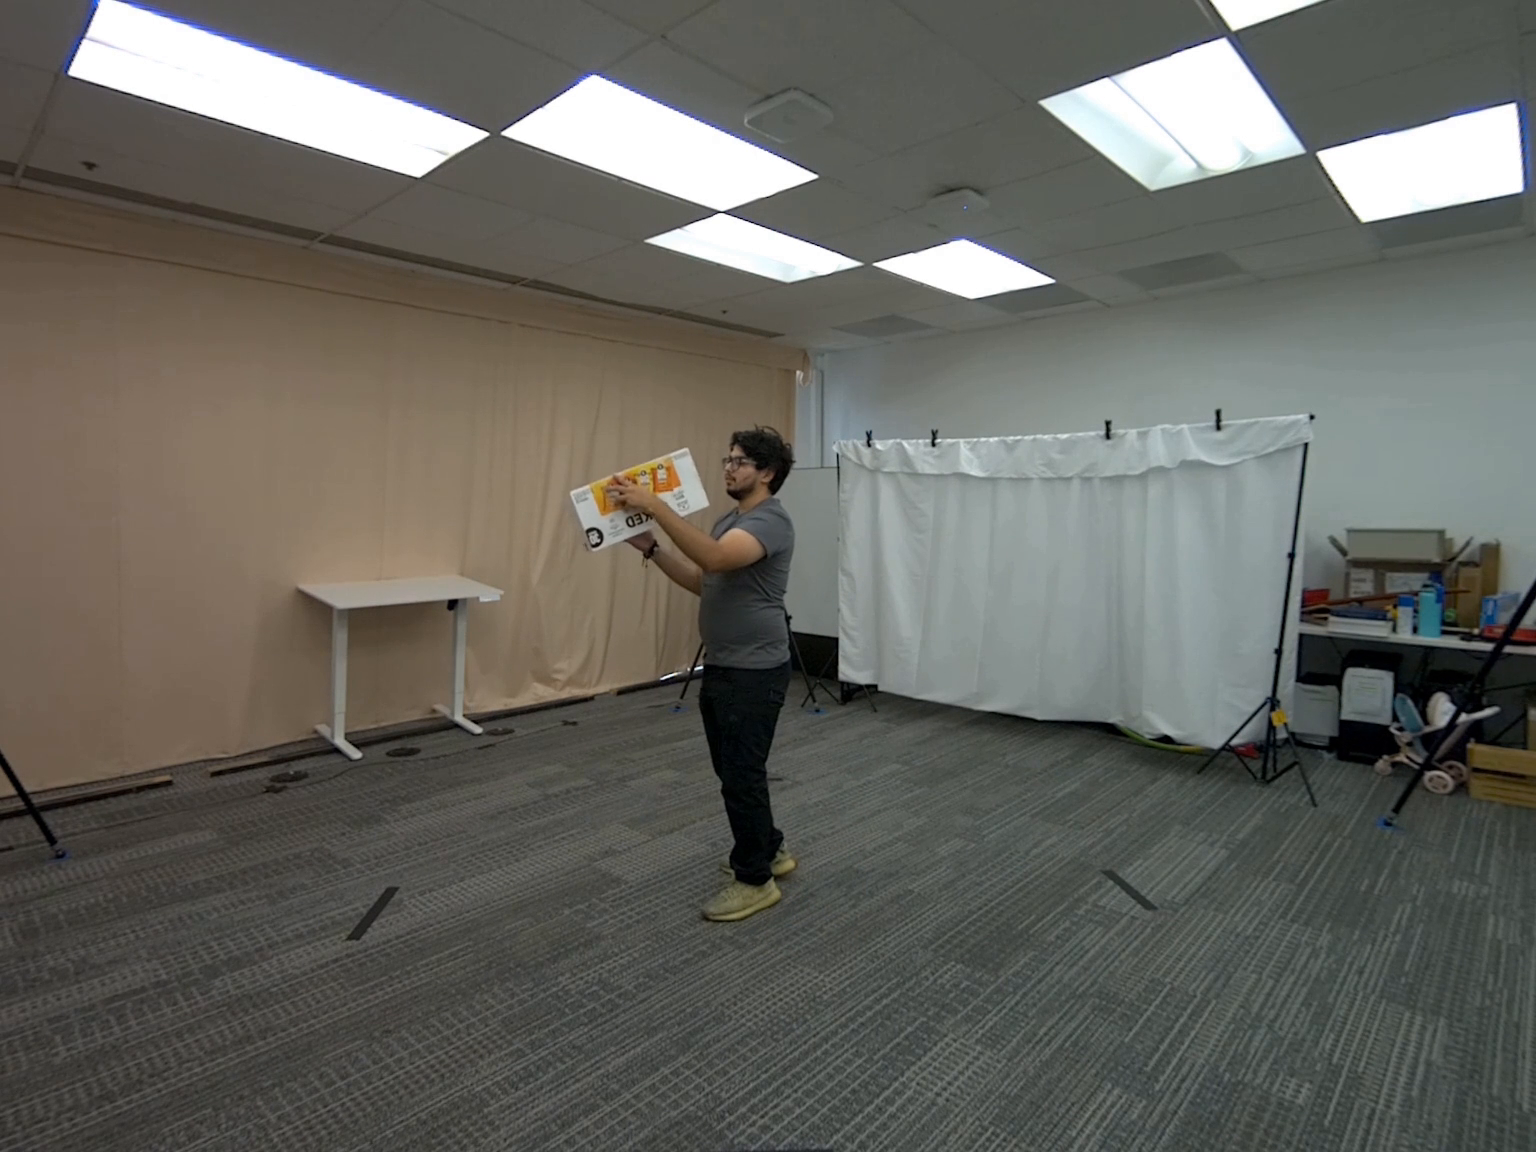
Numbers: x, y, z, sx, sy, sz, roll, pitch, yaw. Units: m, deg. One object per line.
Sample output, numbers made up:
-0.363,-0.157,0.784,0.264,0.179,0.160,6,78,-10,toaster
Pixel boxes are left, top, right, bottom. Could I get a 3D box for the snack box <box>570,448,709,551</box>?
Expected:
-0.450,-0.251,2.830,0.401,0.204,0.346,-22,8,-14,snack box
